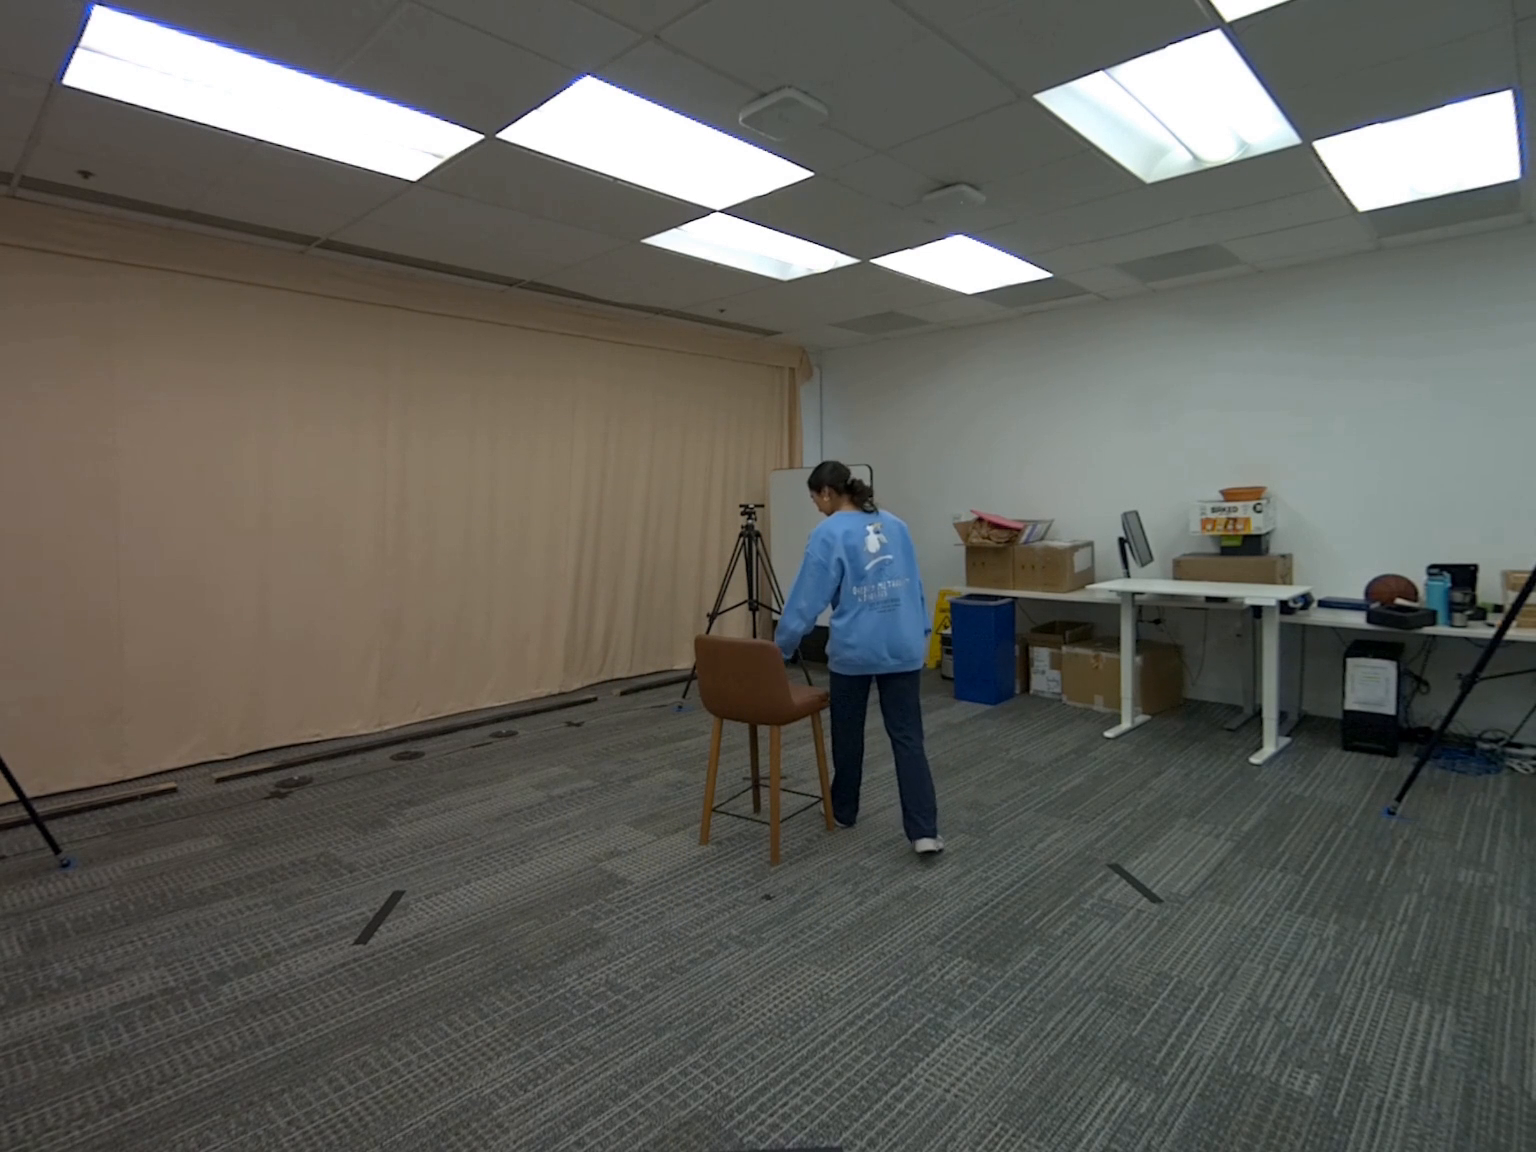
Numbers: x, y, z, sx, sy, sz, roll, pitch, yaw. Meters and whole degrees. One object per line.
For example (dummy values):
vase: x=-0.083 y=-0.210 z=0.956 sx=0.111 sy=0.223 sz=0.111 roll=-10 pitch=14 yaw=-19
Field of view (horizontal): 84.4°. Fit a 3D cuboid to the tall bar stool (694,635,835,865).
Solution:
tall bar stool: x=-0.013 y=0.659 z=3.507 sx=0.471 sy=0.887 sz=0.454 roll=1 pitch=5 yaw=35
